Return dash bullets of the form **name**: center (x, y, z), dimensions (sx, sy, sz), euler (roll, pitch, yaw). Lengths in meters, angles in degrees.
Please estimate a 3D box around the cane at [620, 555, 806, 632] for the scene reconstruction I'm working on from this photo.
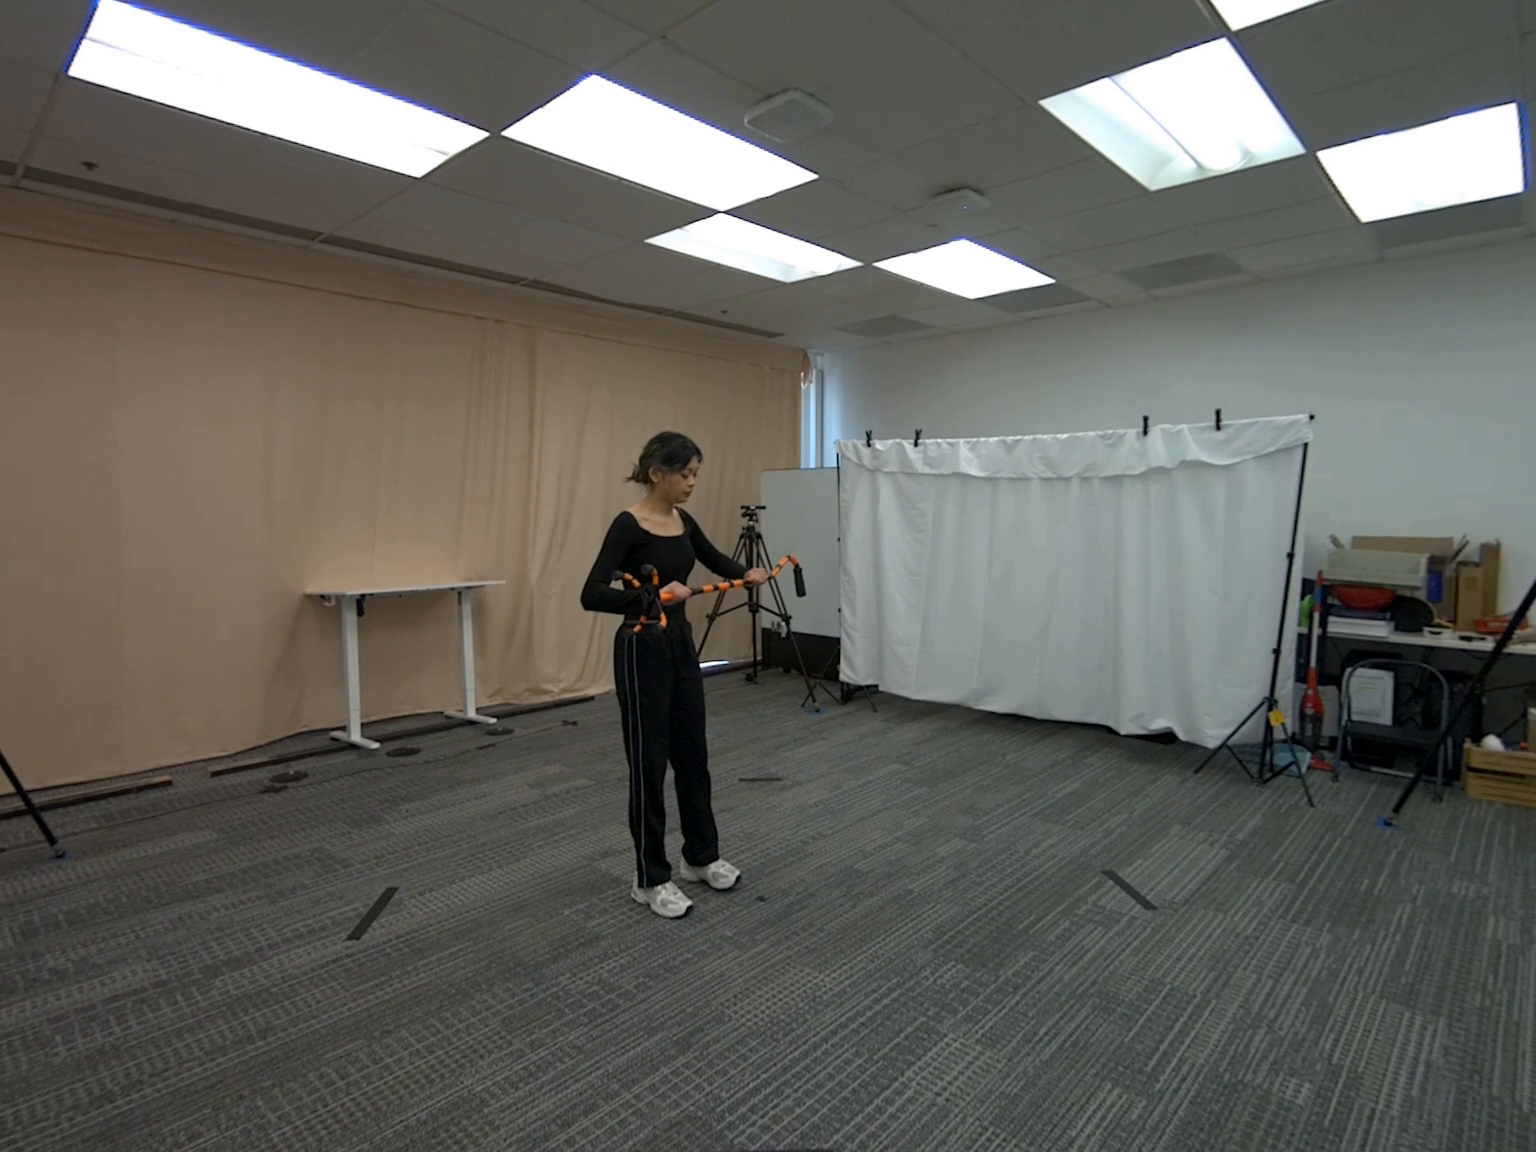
- **cane**: center (-0.128, 0.028, 2.864), dimensions (0.156, 0.206, 0.882), euler (-8, 1, 37)
